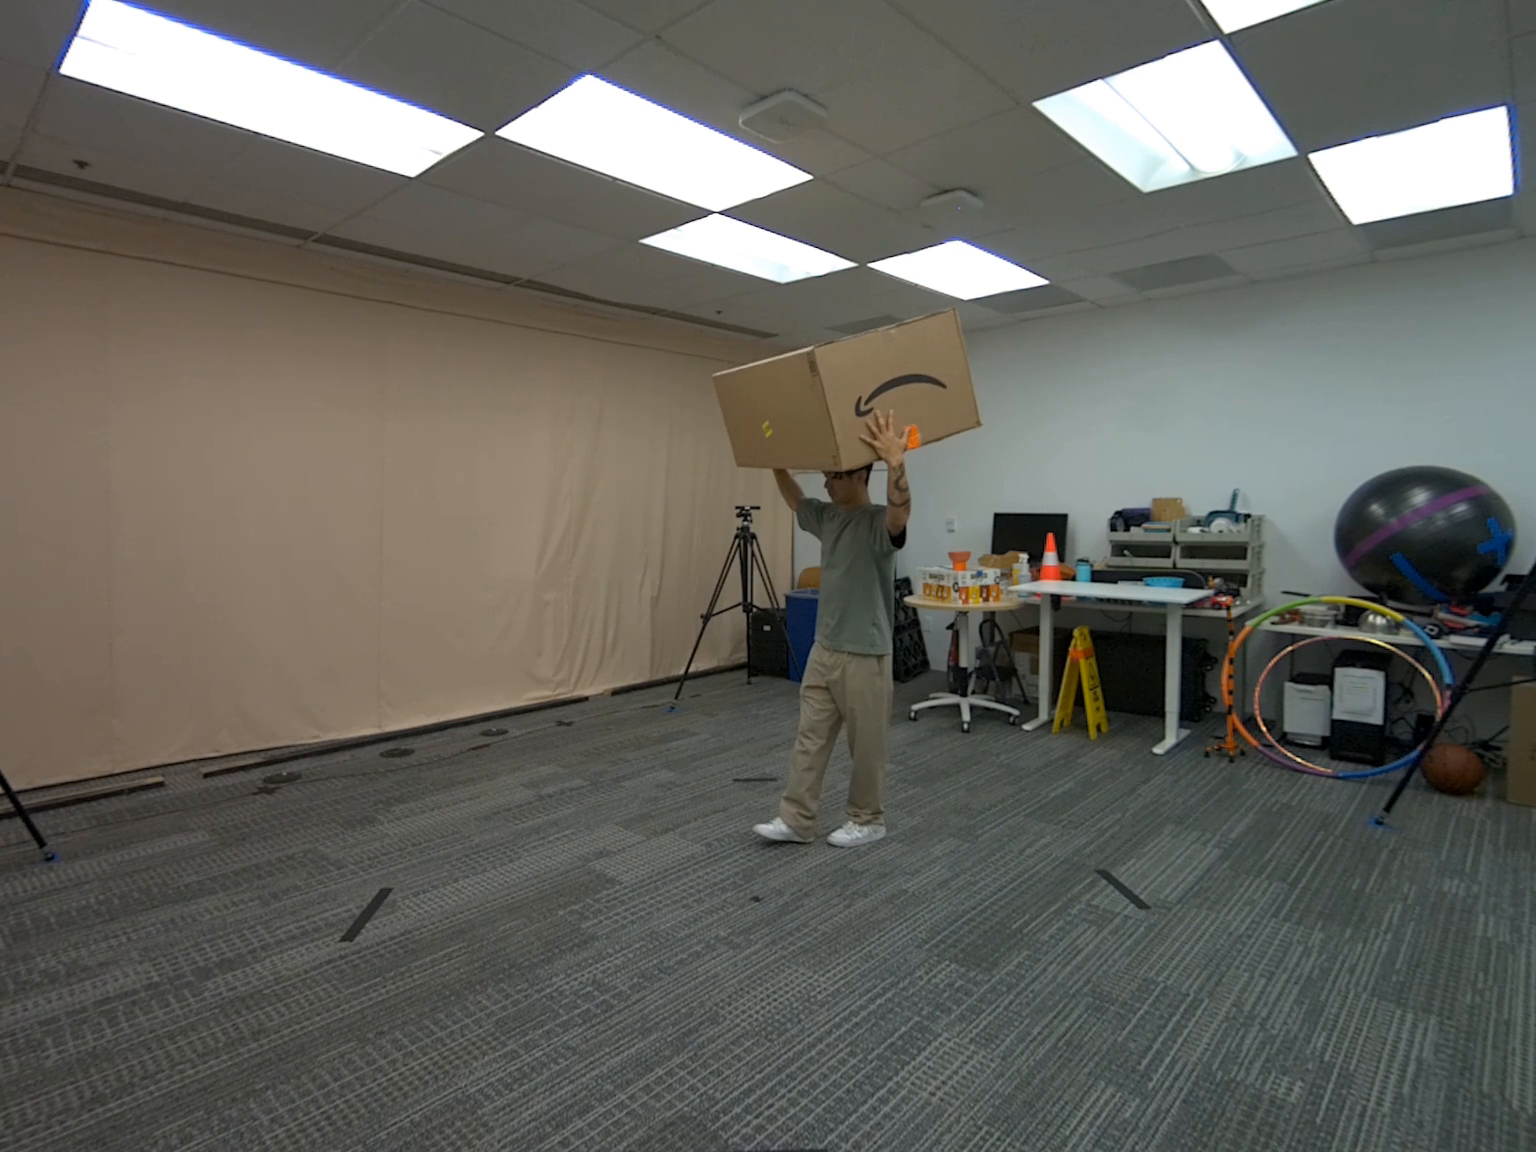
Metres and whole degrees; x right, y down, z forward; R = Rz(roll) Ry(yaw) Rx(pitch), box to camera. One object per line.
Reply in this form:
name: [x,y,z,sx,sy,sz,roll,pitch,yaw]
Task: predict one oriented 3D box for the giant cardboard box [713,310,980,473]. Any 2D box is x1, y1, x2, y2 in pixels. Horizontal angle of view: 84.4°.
giant cardboard box: [0.257,-0.700,3.347,0.570,0.421,1.051,-20,14,-18]
